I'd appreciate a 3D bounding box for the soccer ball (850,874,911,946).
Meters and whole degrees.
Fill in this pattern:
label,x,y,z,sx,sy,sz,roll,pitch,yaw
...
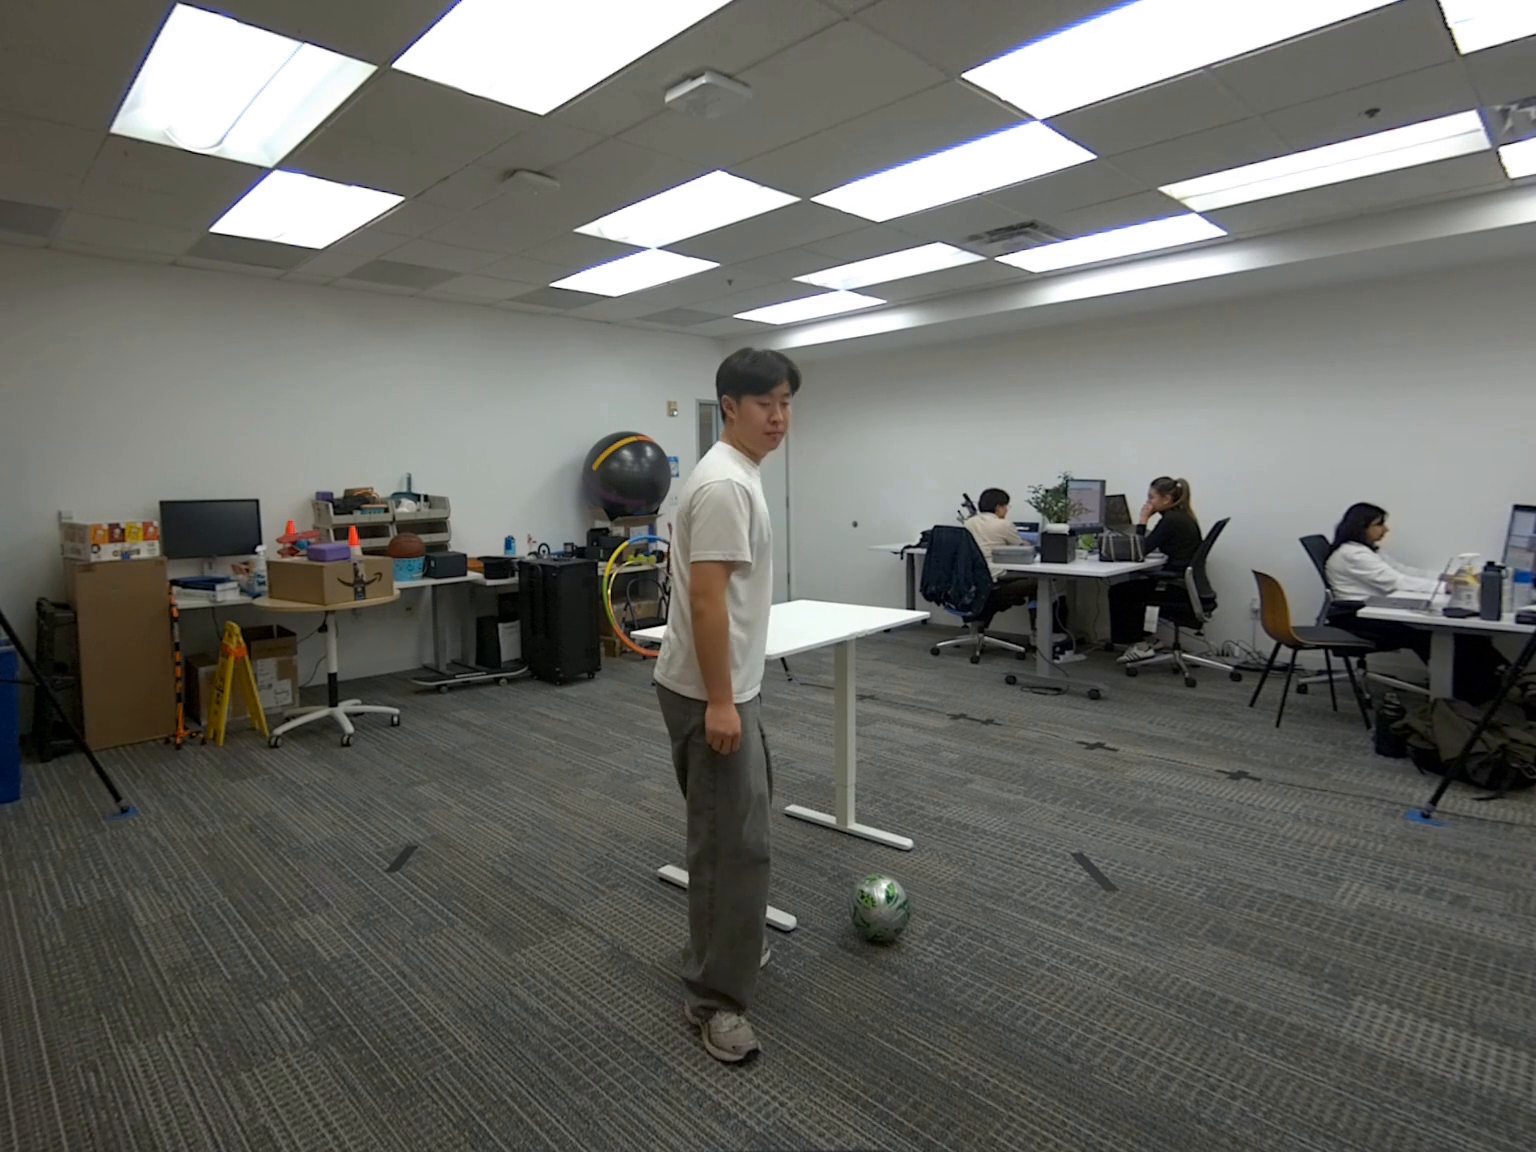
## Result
label,x,y,z,sx,sy,sz,roll,pitch,yaw
soccer ball,0.343,1.005,2.592,0.187,0.187,0.188,-1,5,-2
